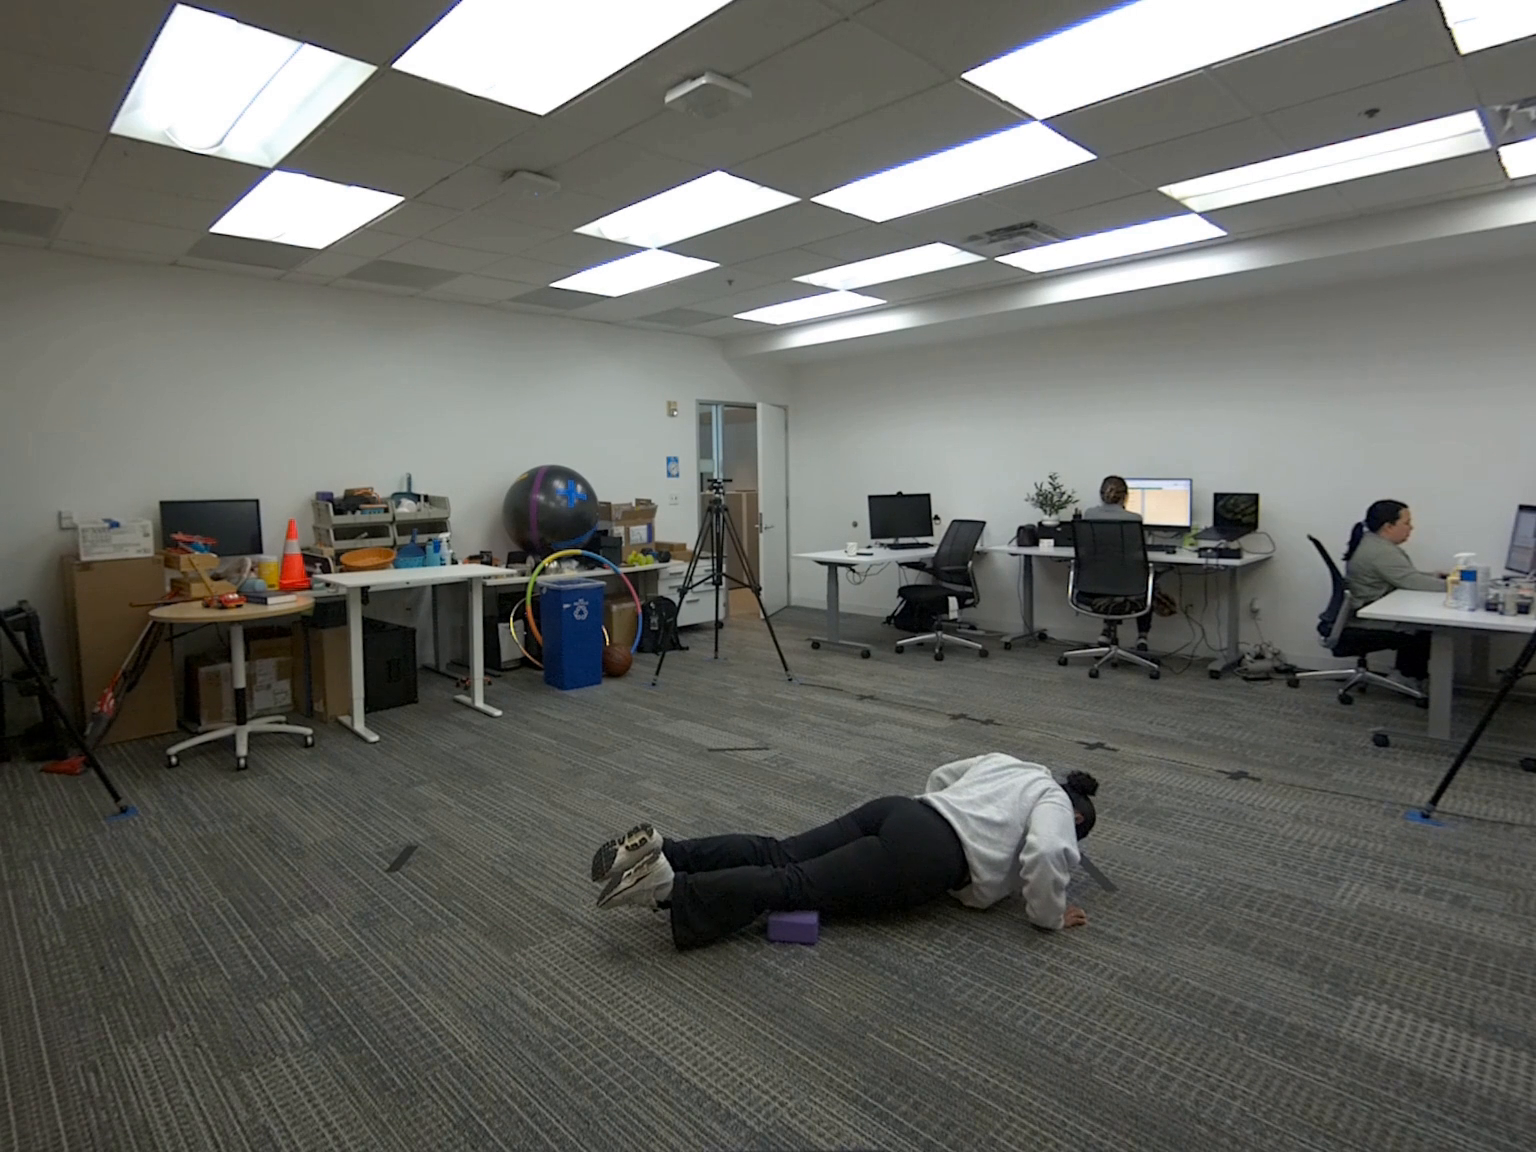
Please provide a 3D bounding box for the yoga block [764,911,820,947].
[{"bbox_3d":[0.078,1.056,2.680,0.150,0.076,0.228,0,4,8],"label":"yoga block"}]
